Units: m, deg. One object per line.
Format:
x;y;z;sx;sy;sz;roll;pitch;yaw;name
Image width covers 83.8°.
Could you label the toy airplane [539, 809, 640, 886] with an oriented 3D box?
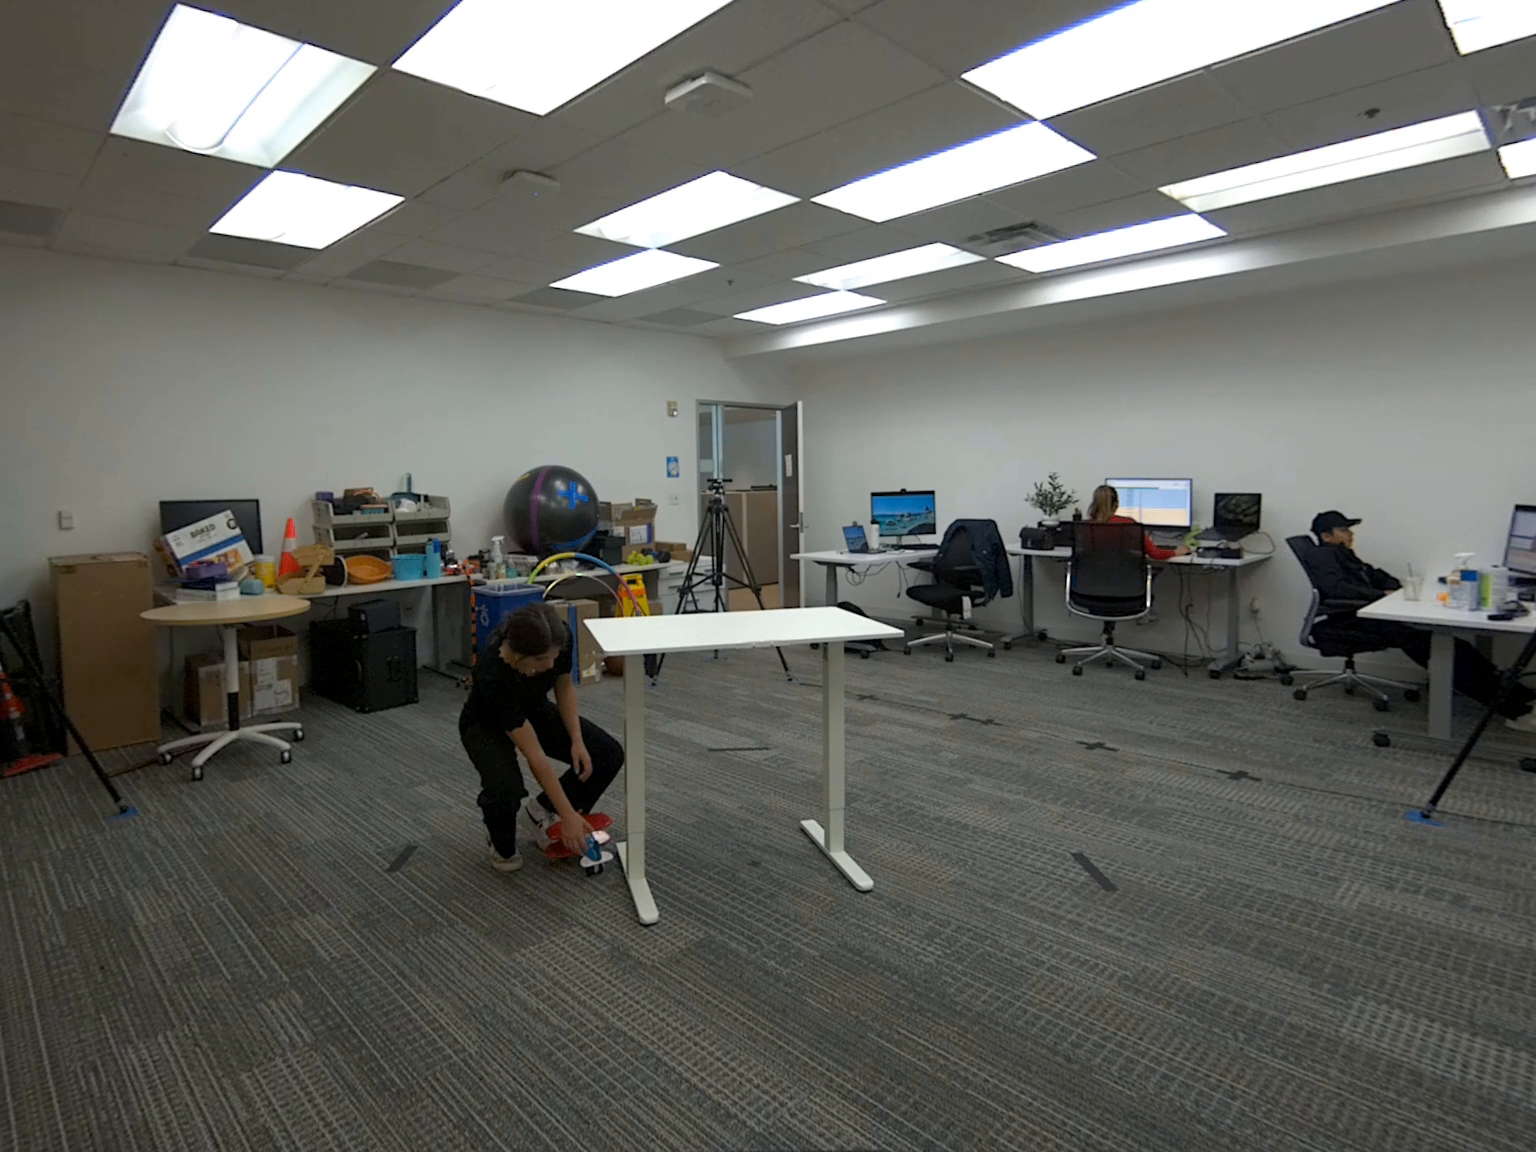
-0.650;0.977;3.125;0.265;0.156;0.246;0;5;24;toy airplane
